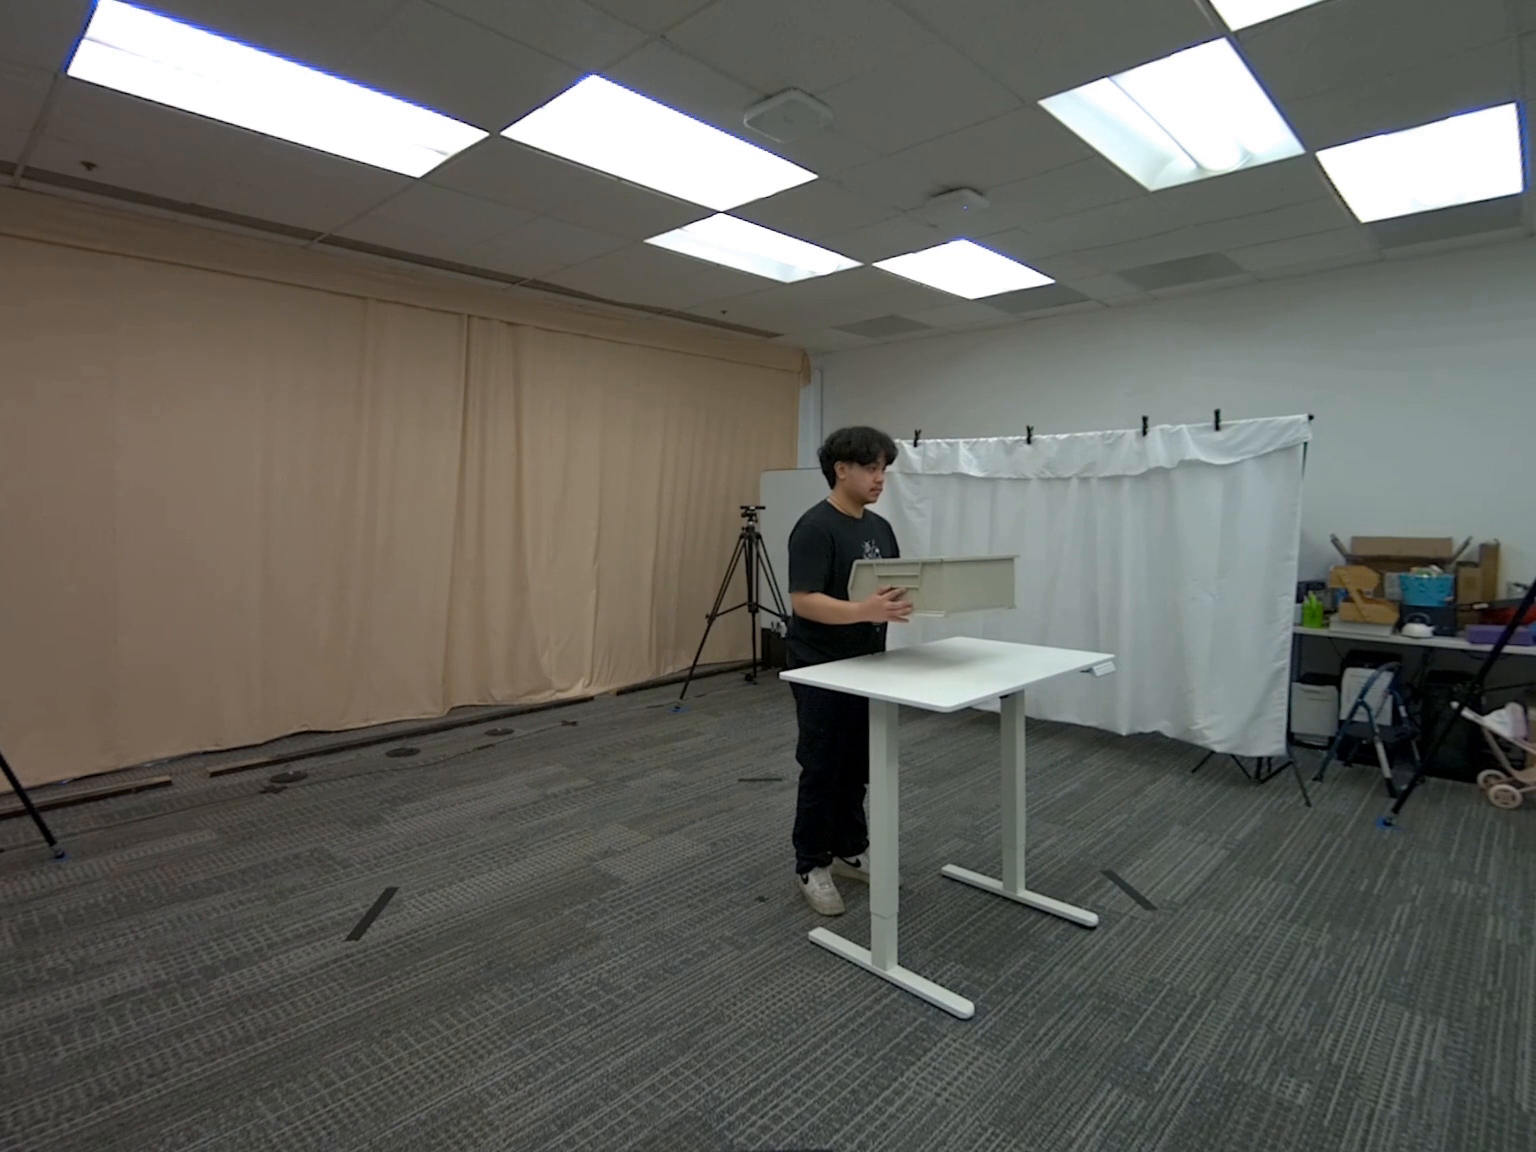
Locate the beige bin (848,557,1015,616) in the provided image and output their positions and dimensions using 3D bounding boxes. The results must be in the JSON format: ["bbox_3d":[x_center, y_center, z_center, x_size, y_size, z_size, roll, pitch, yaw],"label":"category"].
[{"bbox_3d":[0.540,0.033,2.756,0.409,0.189,0.389,-3,2,-41],"label":"beige bin"}]
